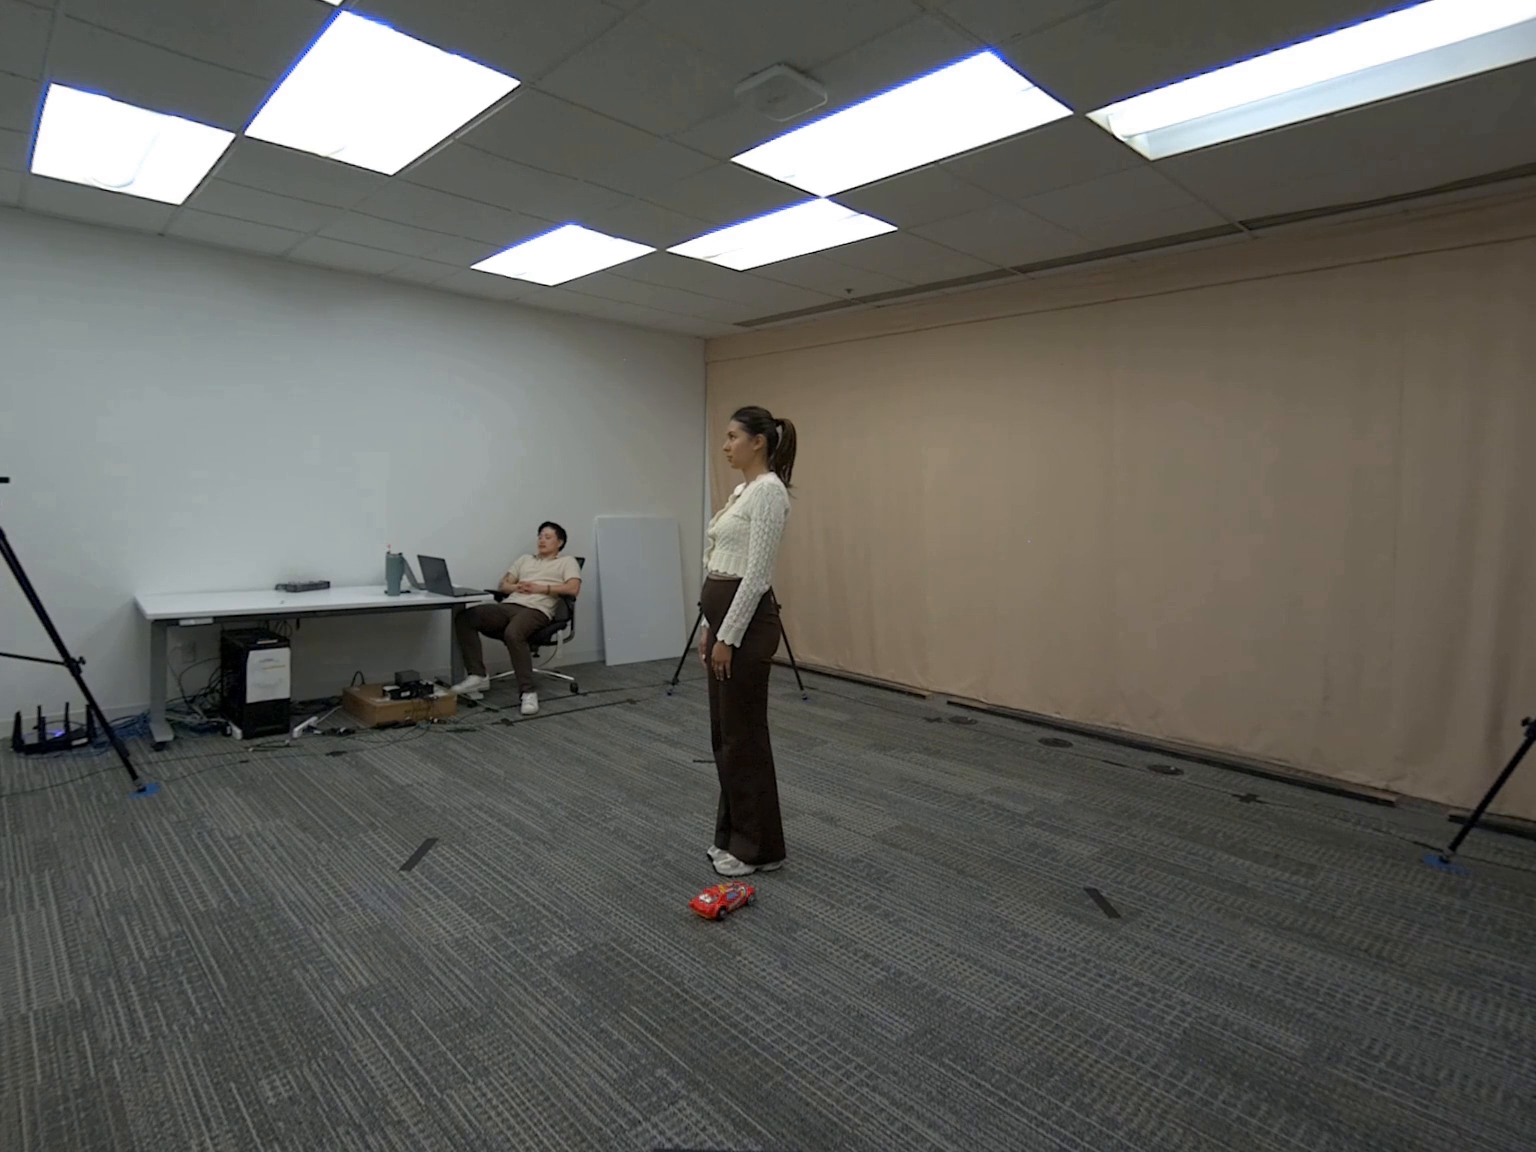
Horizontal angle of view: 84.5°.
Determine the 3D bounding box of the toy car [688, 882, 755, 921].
[{"bbox_3d":[-0.169,1.103,2.832,0.133,0.083,0.247,5,-5,43],"label":"toy car"}]
